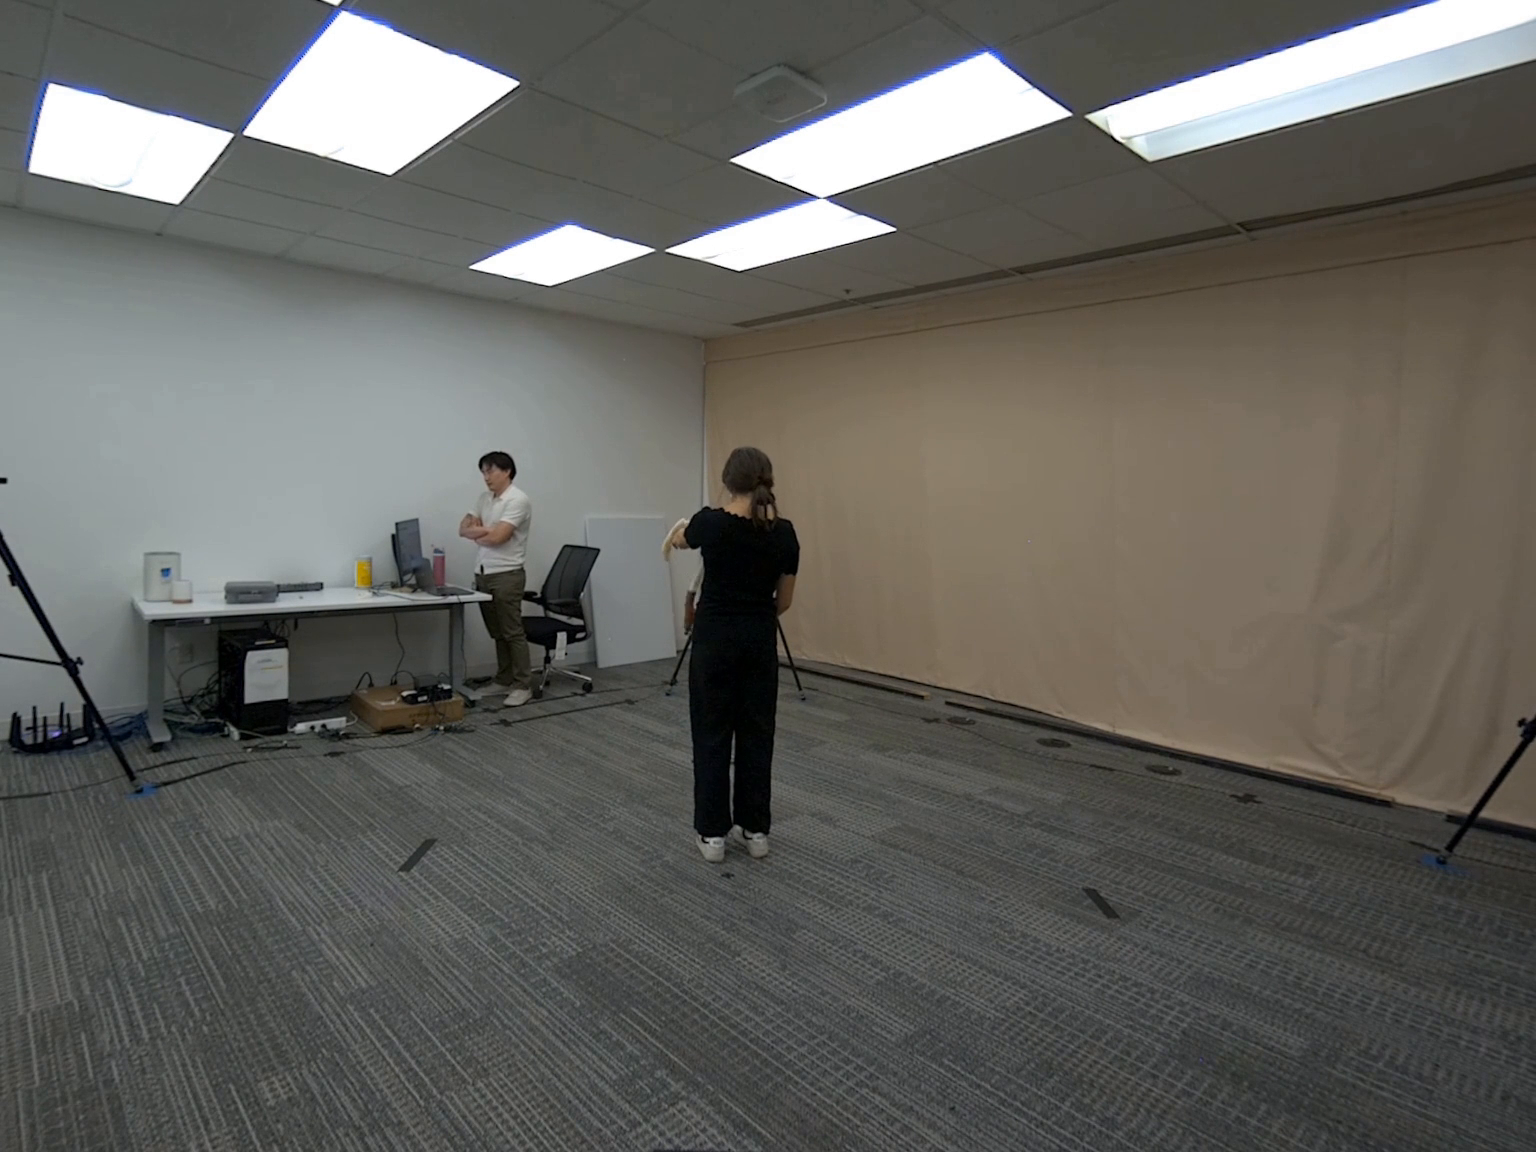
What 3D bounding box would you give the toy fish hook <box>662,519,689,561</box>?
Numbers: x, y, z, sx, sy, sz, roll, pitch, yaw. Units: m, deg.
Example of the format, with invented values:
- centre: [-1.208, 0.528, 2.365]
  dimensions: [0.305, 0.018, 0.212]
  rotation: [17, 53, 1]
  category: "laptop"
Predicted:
- centre: [-0.375, 0.008, 3.660]
  dimensions: [0.224, 0.504, 0.049]
  rotation: [11, 7, -4]
  category: "toy fish hook"
